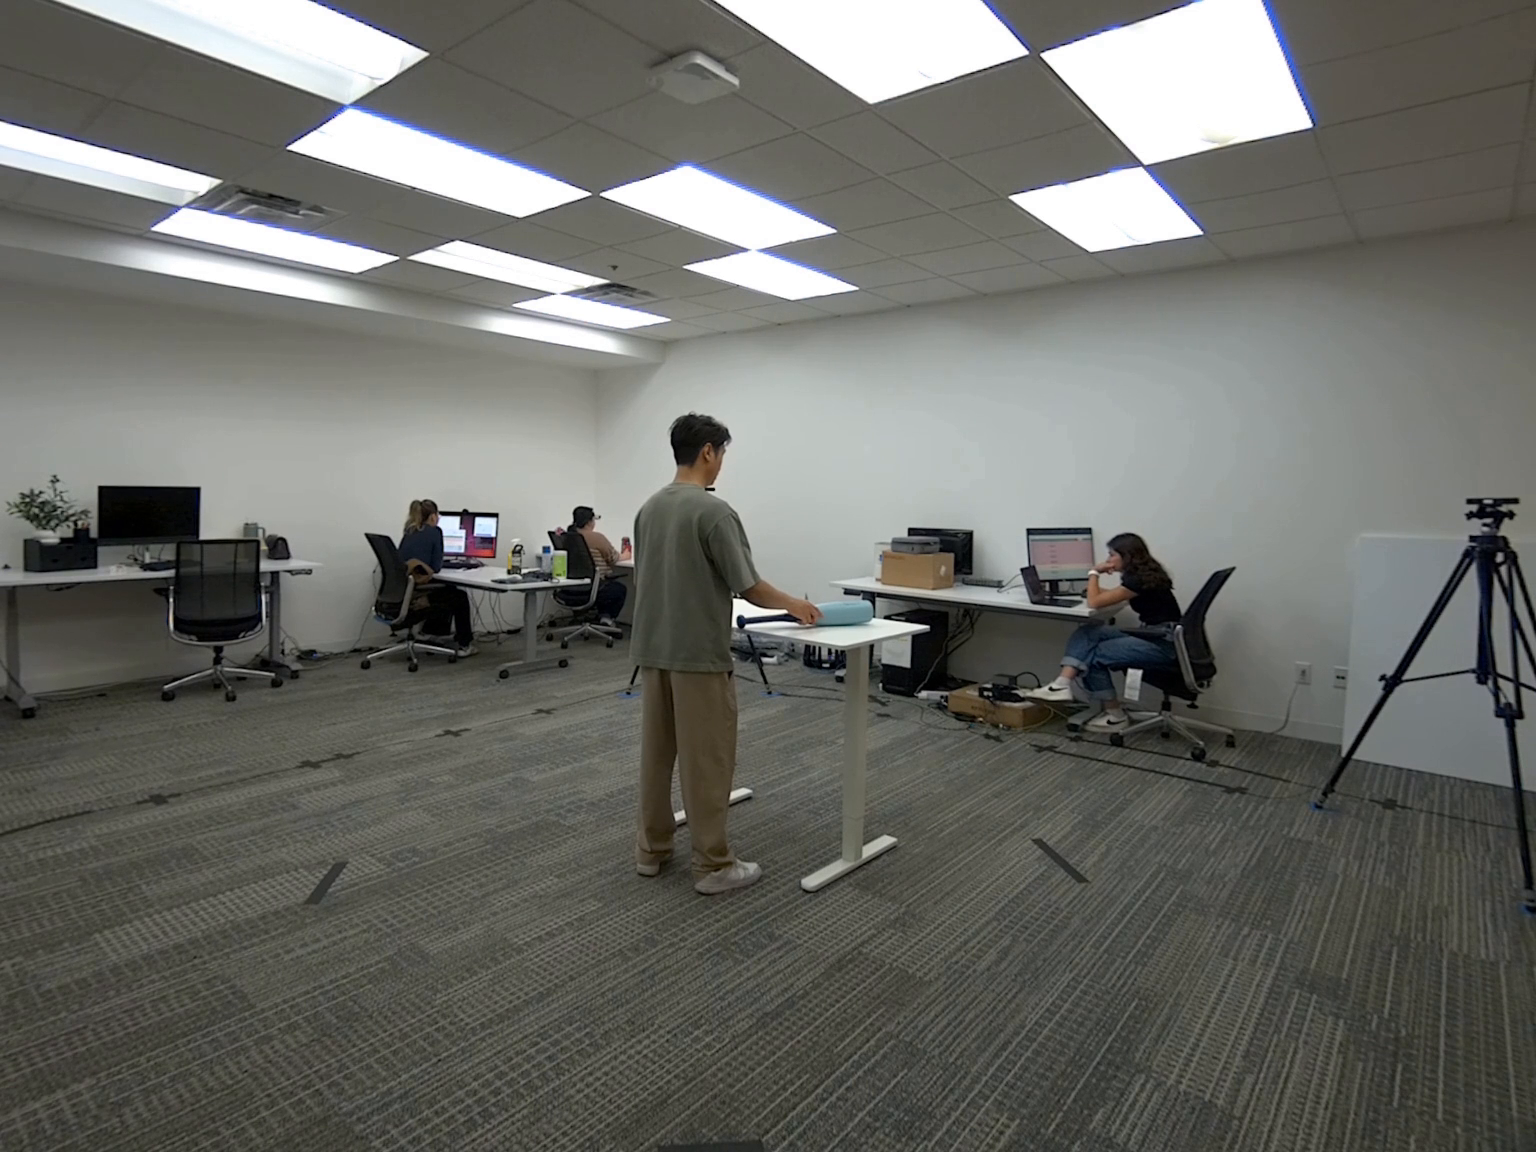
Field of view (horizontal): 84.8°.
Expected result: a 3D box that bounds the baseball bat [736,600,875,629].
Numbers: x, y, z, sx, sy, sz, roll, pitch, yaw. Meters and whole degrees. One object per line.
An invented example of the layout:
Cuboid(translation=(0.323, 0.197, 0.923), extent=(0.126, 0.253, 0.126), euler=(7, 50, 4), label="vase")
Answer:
Cuboid(translation=(0.132, 0.153, 3.189), extent=(0.534, 0.089, 0.091), euler=(-4, 5, -18), label="baseball bat")
